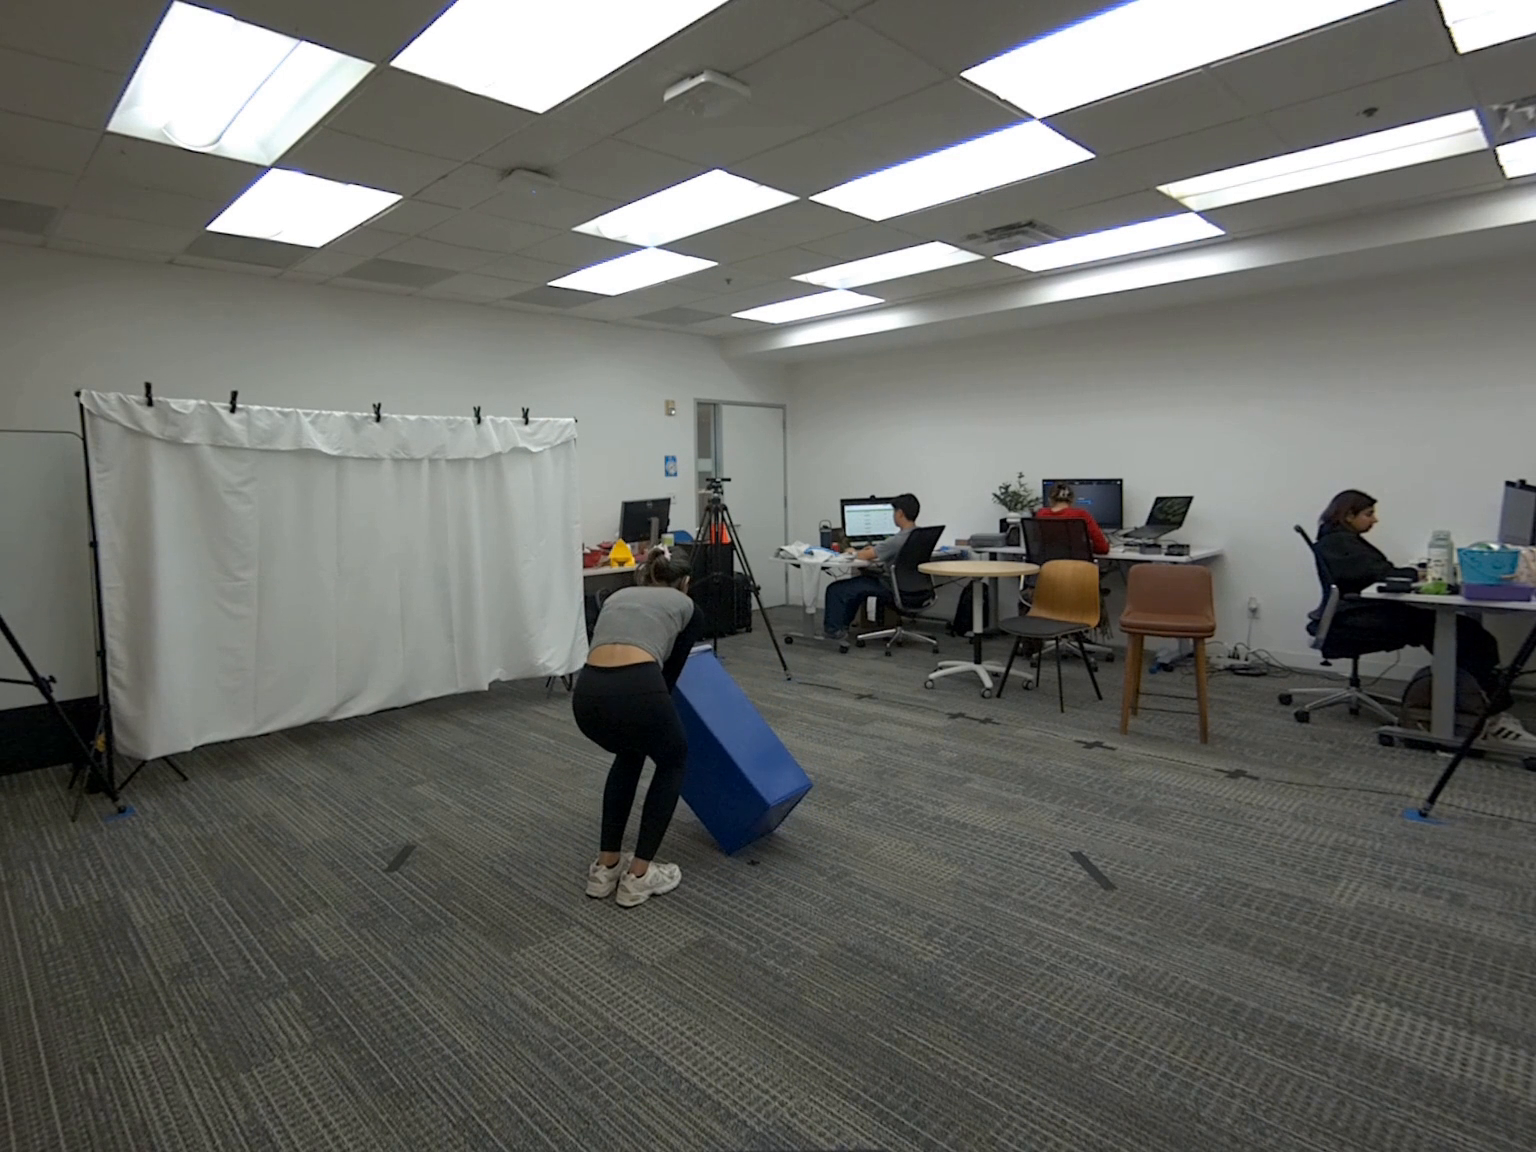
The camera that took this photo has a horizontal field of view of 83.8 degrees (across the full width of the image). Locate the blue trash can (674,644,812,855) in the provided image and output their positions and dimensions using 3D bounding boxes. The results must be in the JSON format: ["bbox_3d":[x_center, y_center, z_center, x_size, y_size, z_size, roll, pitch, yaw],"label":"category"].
[{"bbox_3d":[-0.205,0.674,3.354,0.736,0.376,0.364,47,27,26],"label":"blue trash can"}]
